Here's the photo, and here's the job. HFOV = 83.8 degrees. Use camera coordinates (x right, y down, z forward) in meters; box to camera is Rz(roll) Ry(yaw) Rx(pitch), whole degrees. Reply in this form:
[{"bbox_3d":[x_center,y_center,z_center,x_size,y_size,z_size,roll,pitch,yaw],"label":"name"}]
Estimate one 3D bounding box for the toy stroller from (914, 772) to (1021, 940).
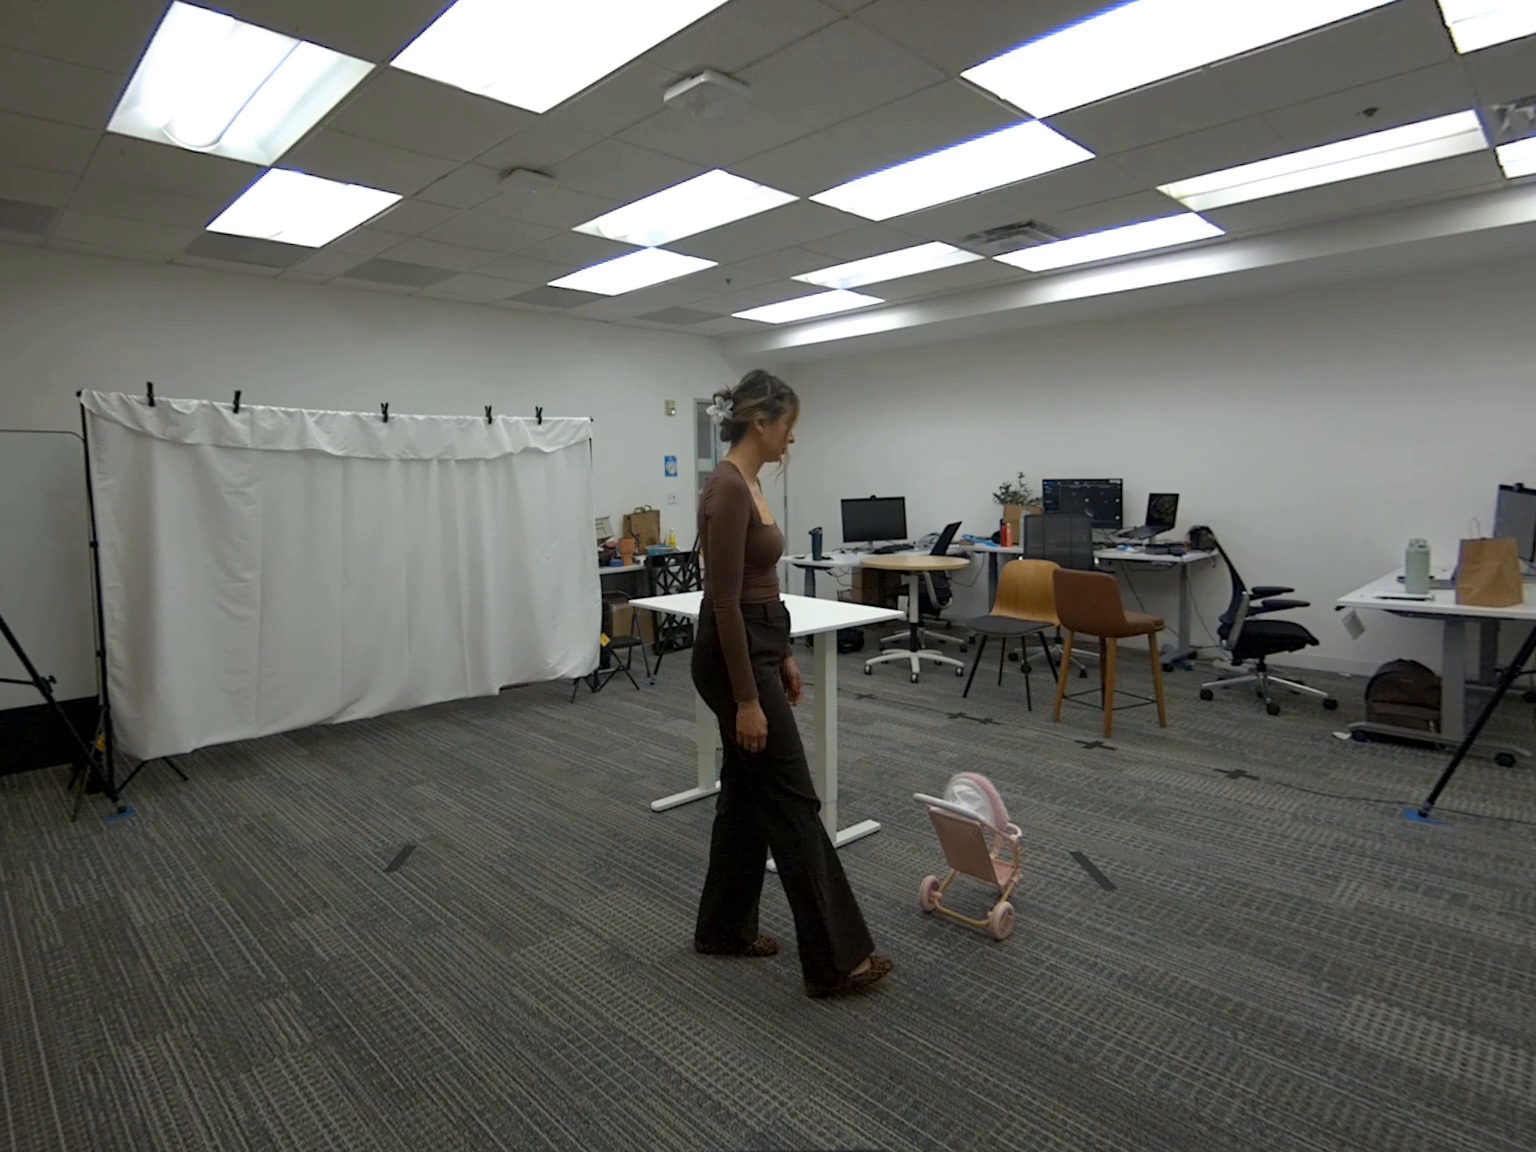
[{"bbox_3d":[0.659,0.853,2.688,0.336,0.527,0.290,-24,18,-39],"label":"toy stroller"}]
